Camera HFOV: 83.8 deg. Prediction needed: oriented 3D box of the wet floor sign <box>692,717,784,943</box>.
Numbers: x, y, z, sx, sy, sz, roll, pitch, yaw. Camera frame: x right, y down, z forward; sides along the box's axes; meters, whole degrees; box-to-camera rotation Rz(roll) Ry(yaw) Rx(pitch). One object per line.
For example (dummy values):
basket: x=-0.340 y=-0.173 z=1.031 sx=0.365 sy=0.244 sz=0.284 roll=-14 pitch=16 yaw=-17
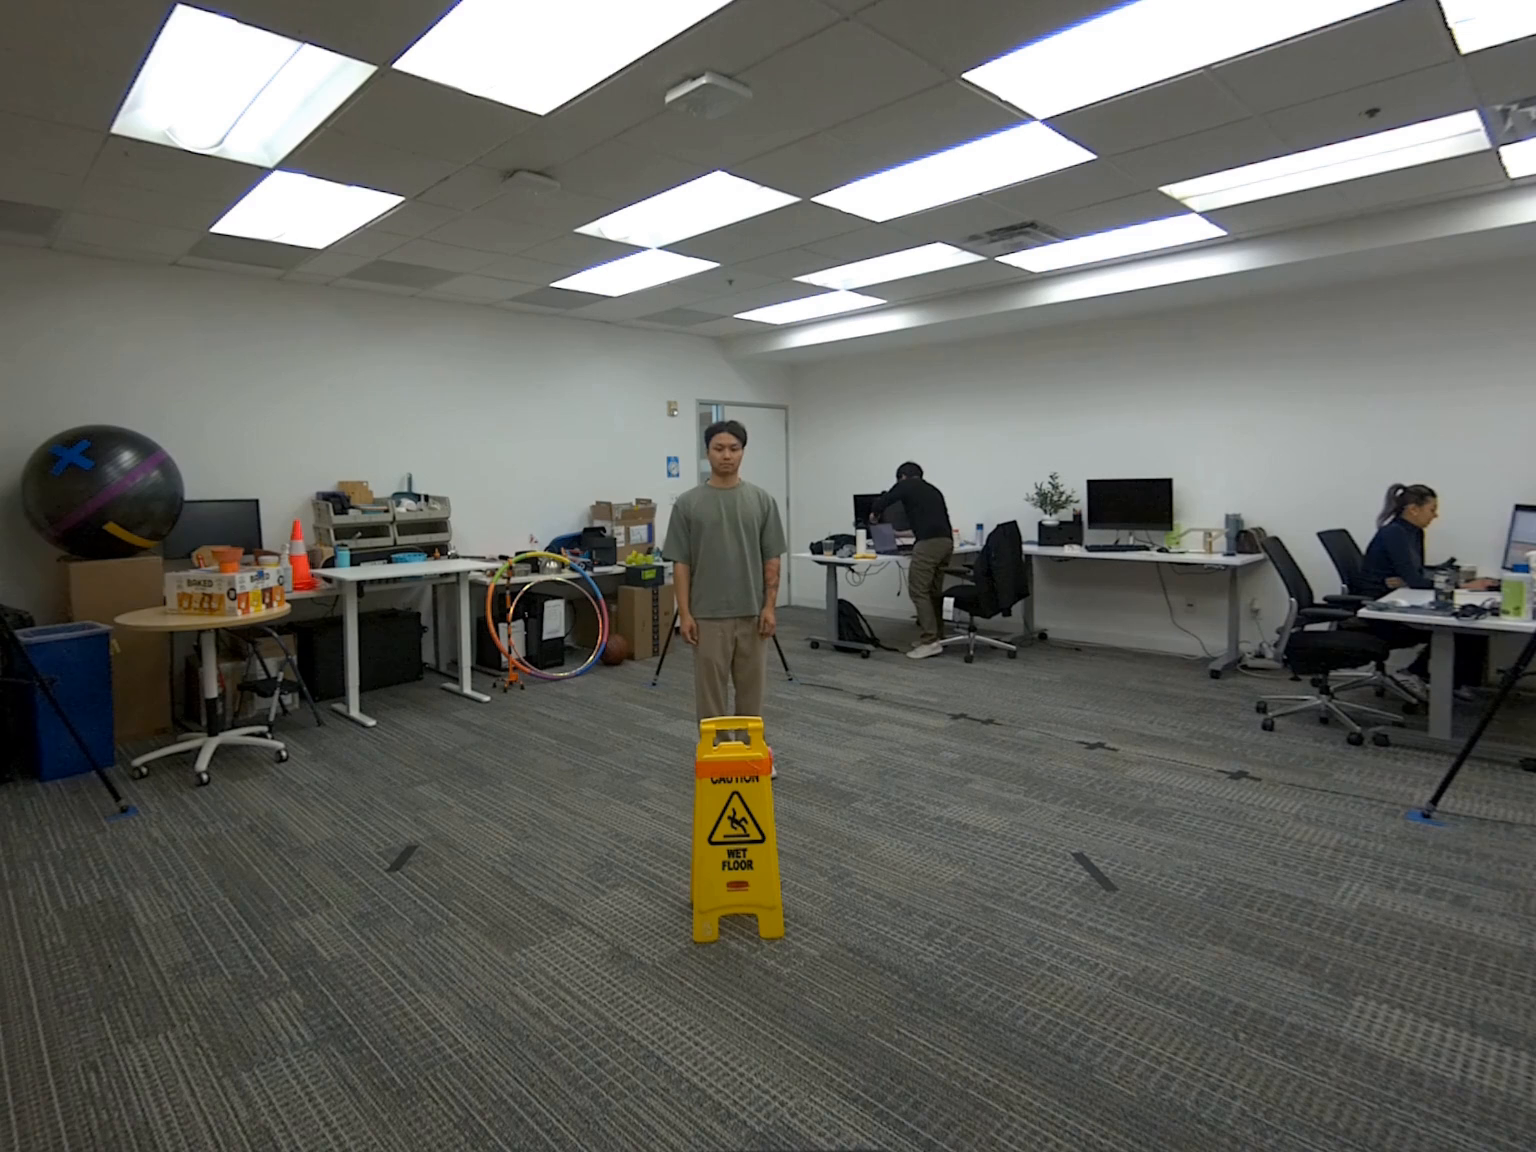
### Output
wet floor sign: x=-0.115 y=0.772 z=2.697 sx=0.281 sy=0.643 sz=0.292 roll=-2 pitch=5 yaw=-5
